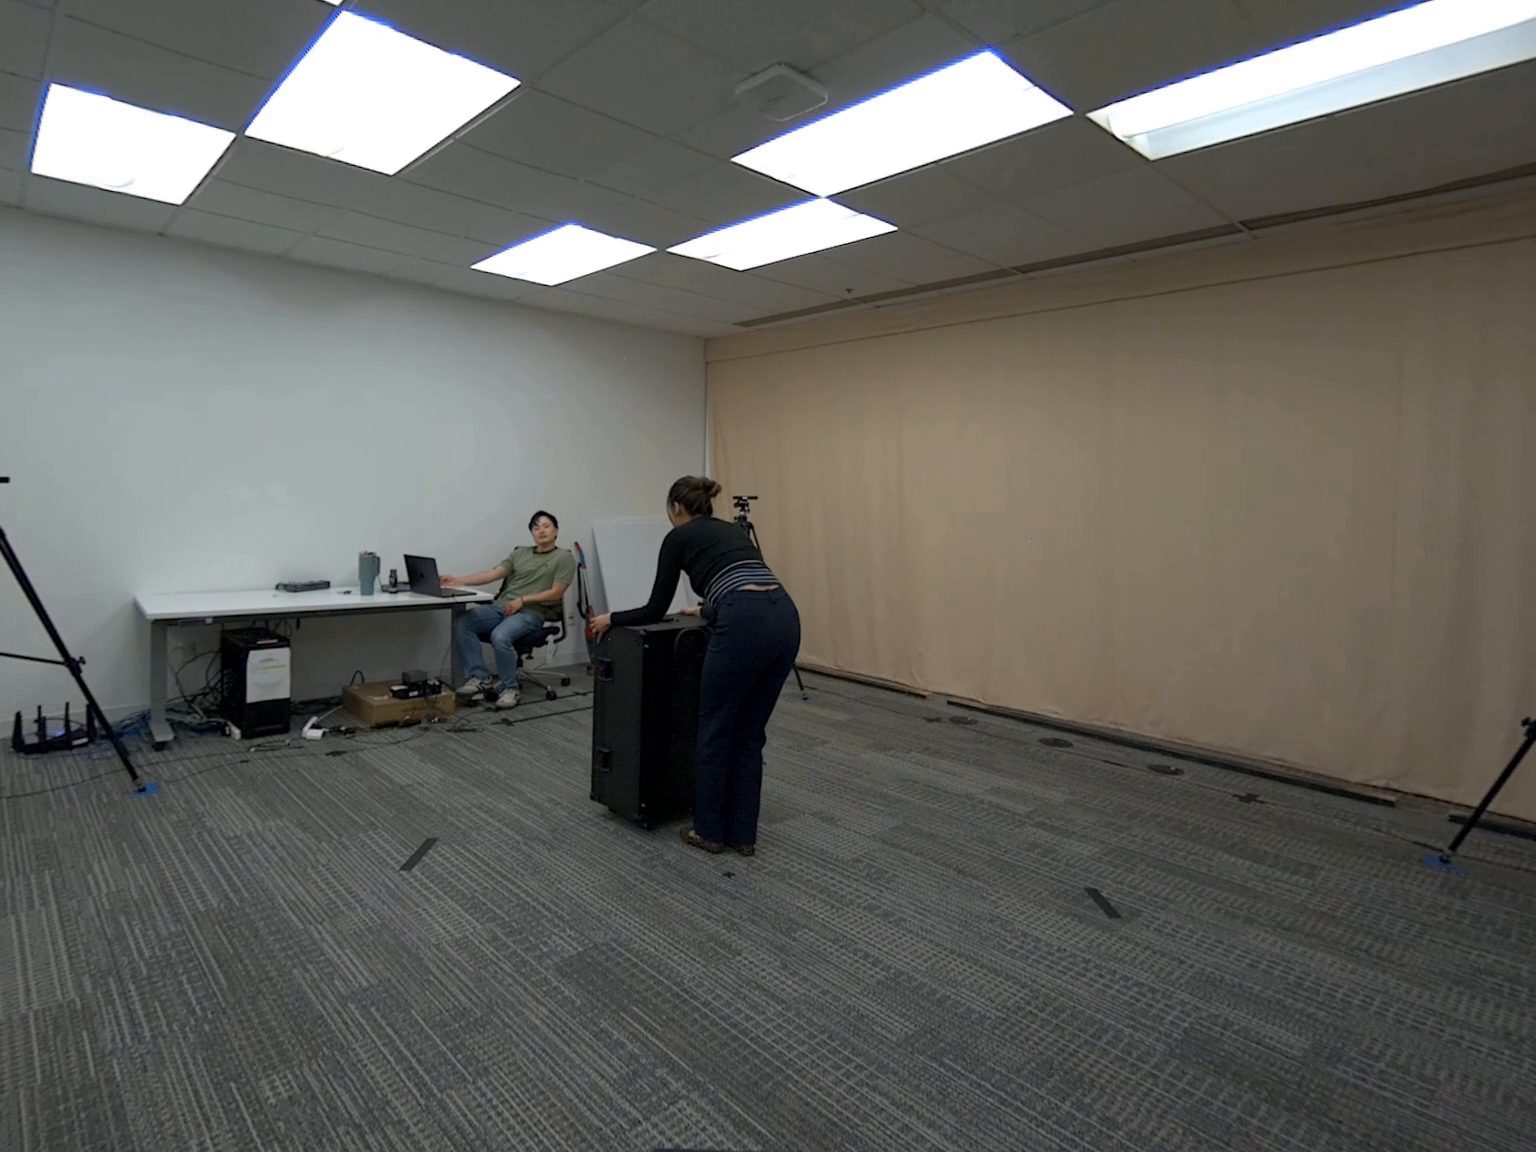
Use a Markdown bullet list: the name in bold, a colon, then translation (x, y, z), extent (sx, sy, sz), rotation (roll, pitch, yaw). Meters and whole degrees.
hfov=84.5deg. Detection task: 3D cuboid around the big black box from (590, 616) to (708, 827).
- **big black box**: translation (-0.461, 0.620, 3.662), extent (0.509, 0.859, 0.407), rotation (-1, 6, -43)
